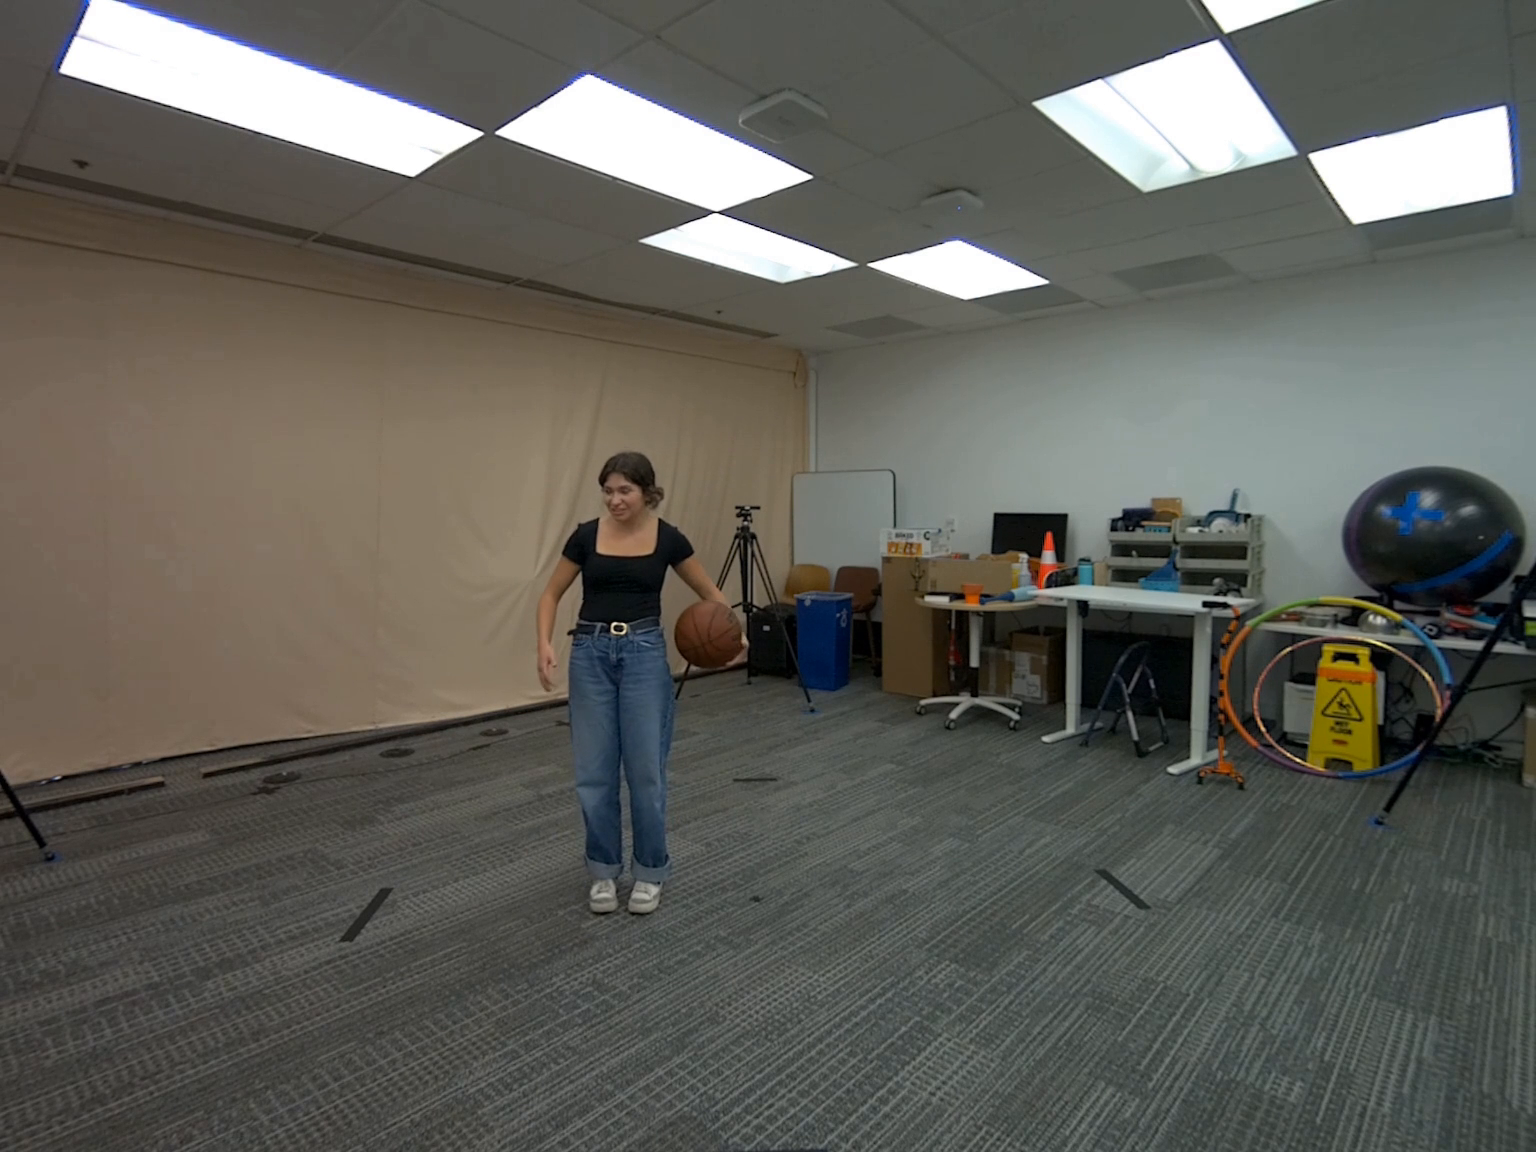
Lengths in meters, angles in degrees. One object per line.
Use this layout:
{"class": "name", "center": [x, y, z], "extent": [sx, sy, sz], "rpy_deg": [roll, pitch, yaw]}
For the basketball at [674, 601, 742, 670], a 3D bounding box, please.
{"class": "basketball", "center": [-0.225, 0.209, 2.940], "extent": [0.236, 0.235, 0.237], "rpy_deg": [0, 4, -2]}
